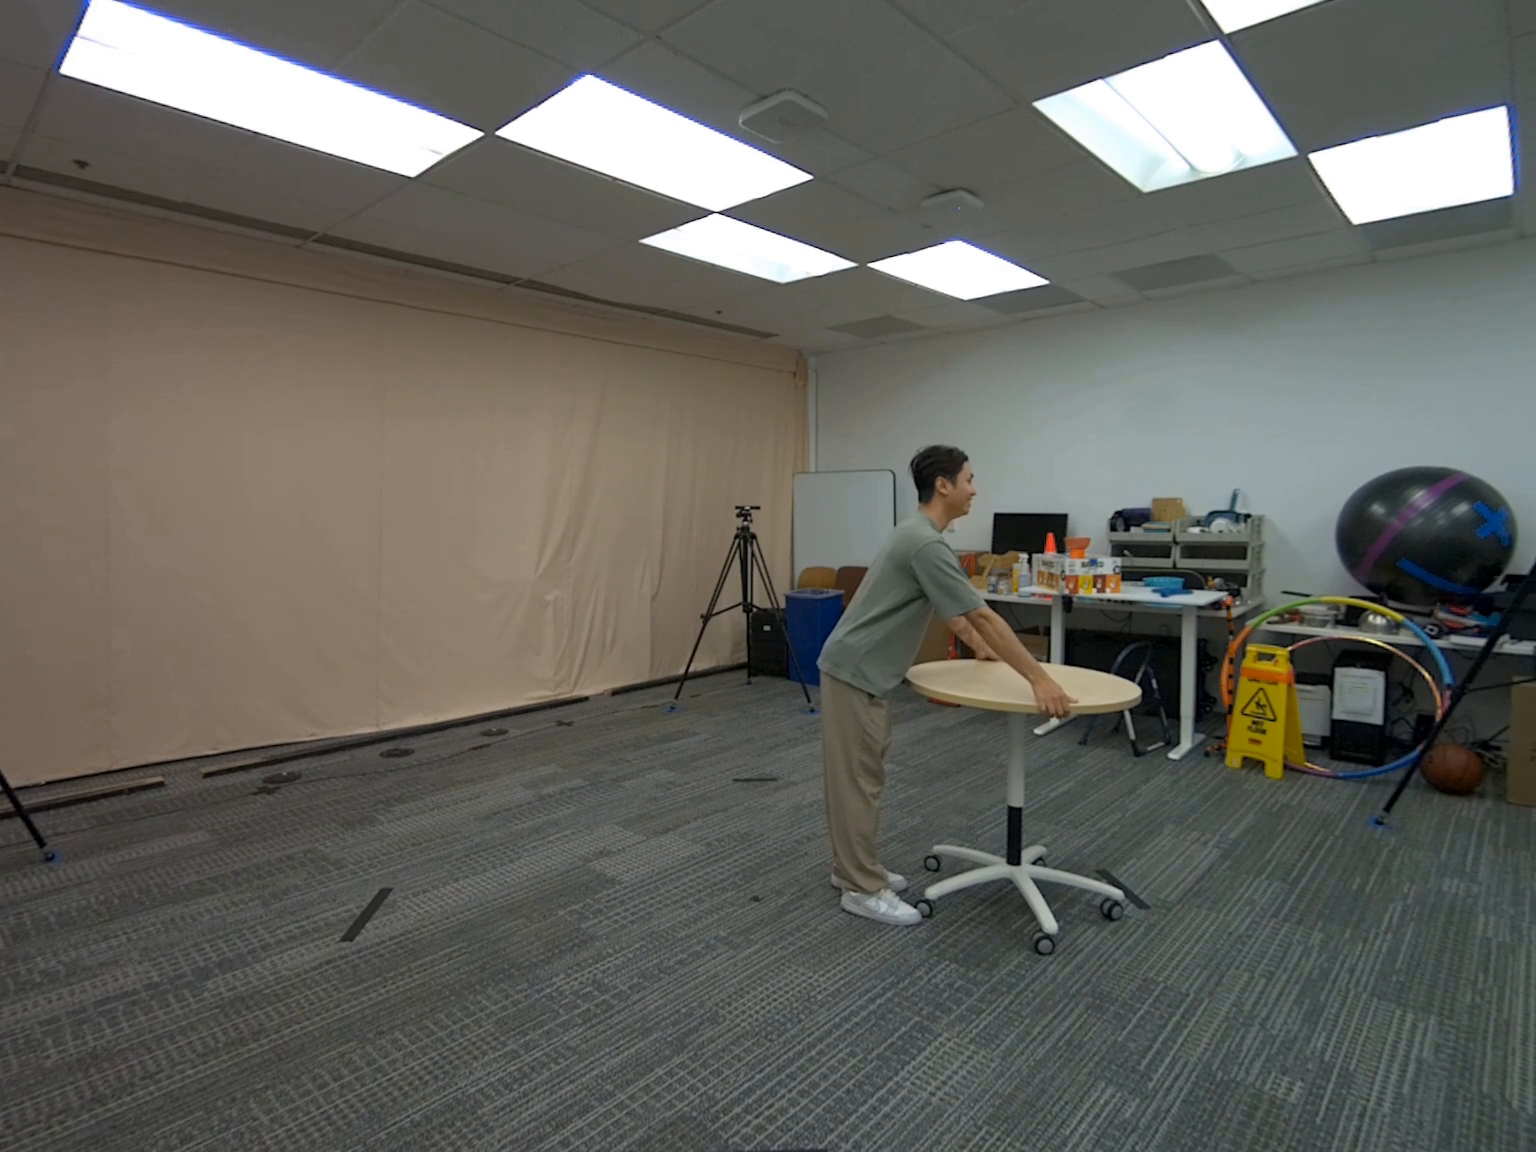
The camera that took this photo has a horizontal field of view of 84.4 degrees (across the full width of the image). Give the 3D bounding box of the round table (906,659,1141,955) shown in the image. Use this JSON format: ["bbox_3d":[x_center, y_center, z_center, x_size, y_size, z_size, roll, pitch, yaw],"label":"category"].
[{"bbox_3d":[0.857,0.753,2.916,0.784,0.785,0.787,1,3,-2],"label":"round table"}]
